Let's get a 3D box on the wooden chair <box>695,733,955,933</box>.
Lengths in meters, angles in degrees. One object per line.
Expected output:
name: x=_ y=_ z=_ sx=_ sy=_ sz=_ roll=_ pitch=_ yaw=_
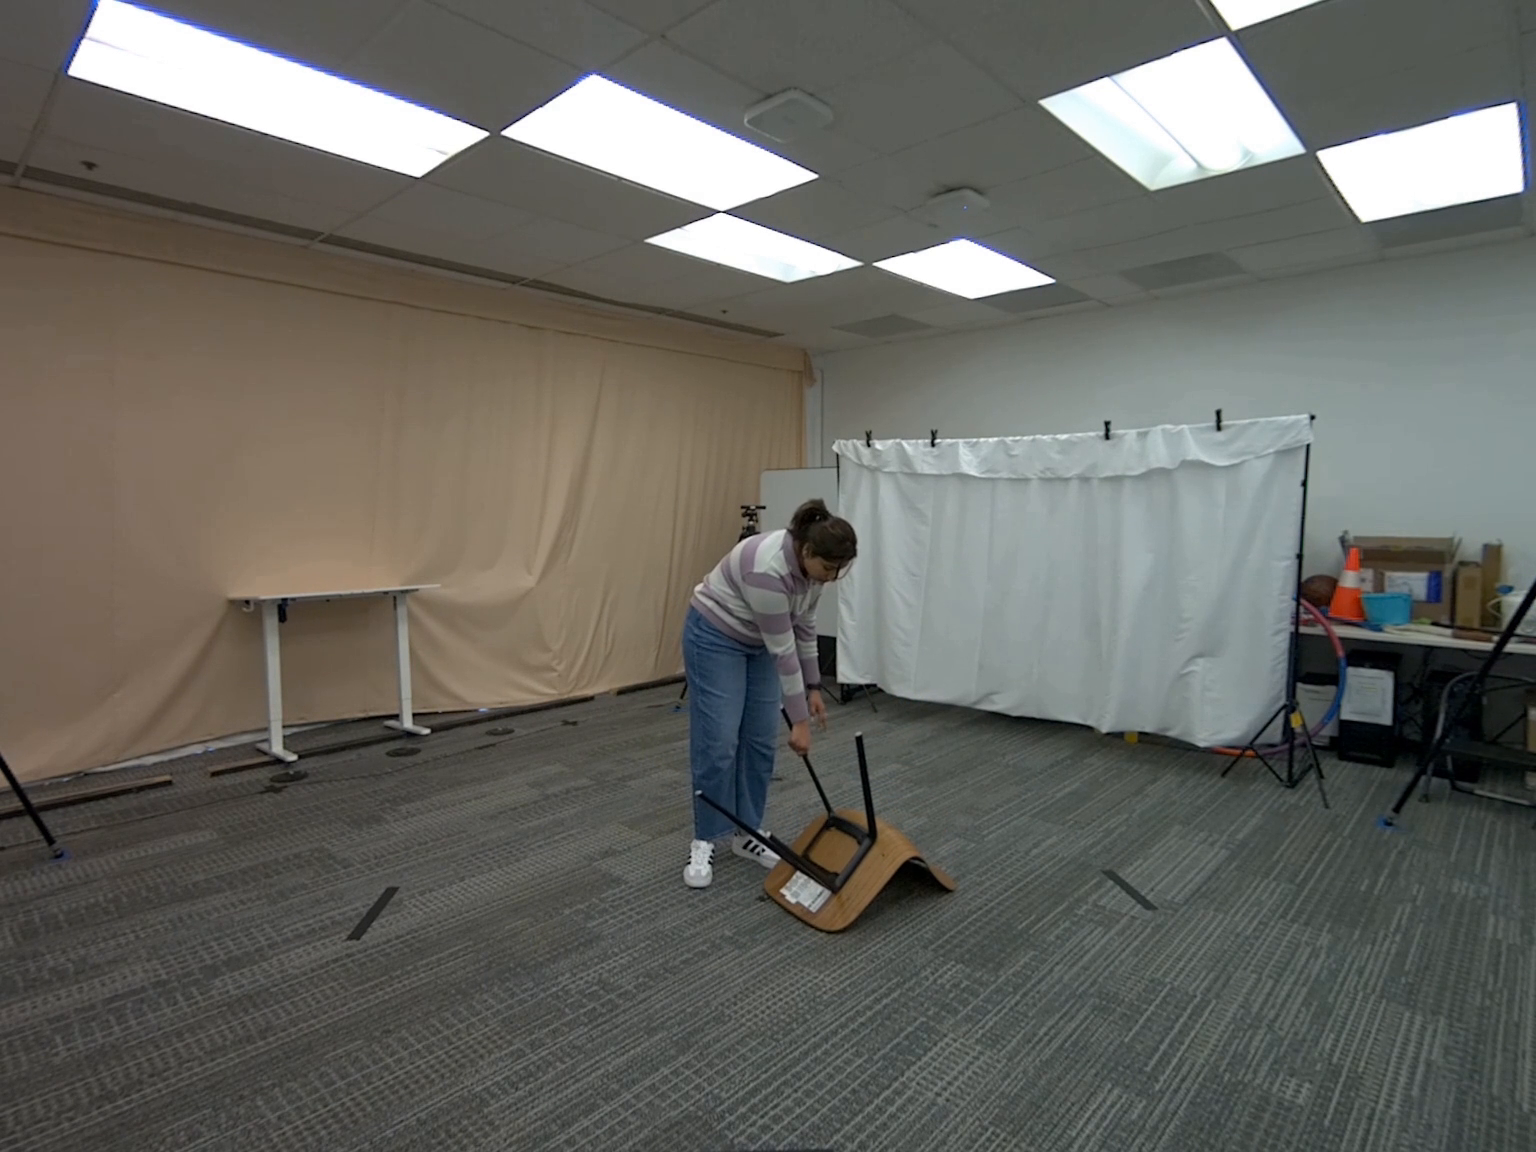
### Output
wooden chair: x=0.231 y=0.973 z=2.973 sx=0.520 sy=0.856 sz=0.493 roll=-47 pitch=25 yaw=-22
